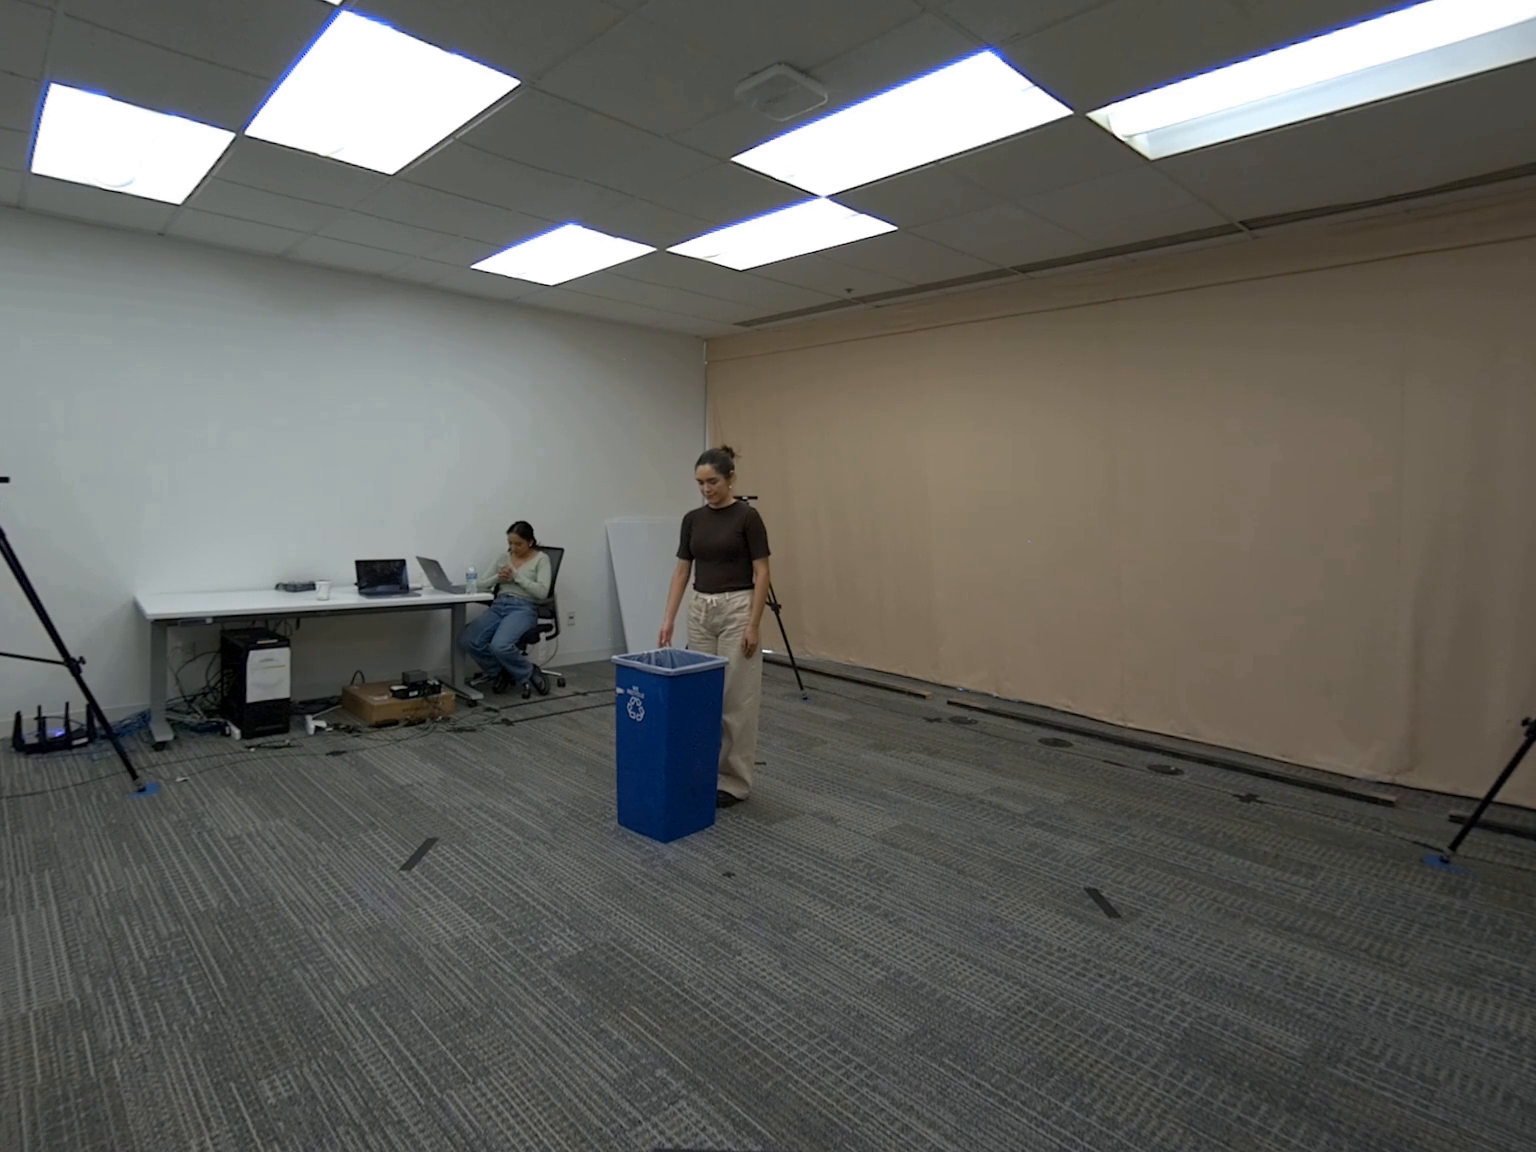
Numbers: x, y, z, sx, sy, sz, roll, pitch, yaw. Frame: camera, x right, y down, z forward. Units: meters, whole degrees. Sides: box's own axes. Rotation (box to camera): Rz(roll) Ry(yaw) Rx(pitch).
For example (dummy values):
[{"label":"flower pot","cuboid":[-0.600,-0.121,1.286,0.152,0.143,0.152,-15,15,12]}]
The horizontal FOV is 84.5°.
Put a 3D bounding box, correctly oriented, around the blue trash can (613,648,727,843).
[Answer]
[{"label":"blue trash can","cuboid":[-0.423,0.697,3.553,0.383,0.712,0.369,4,5,41]}]
